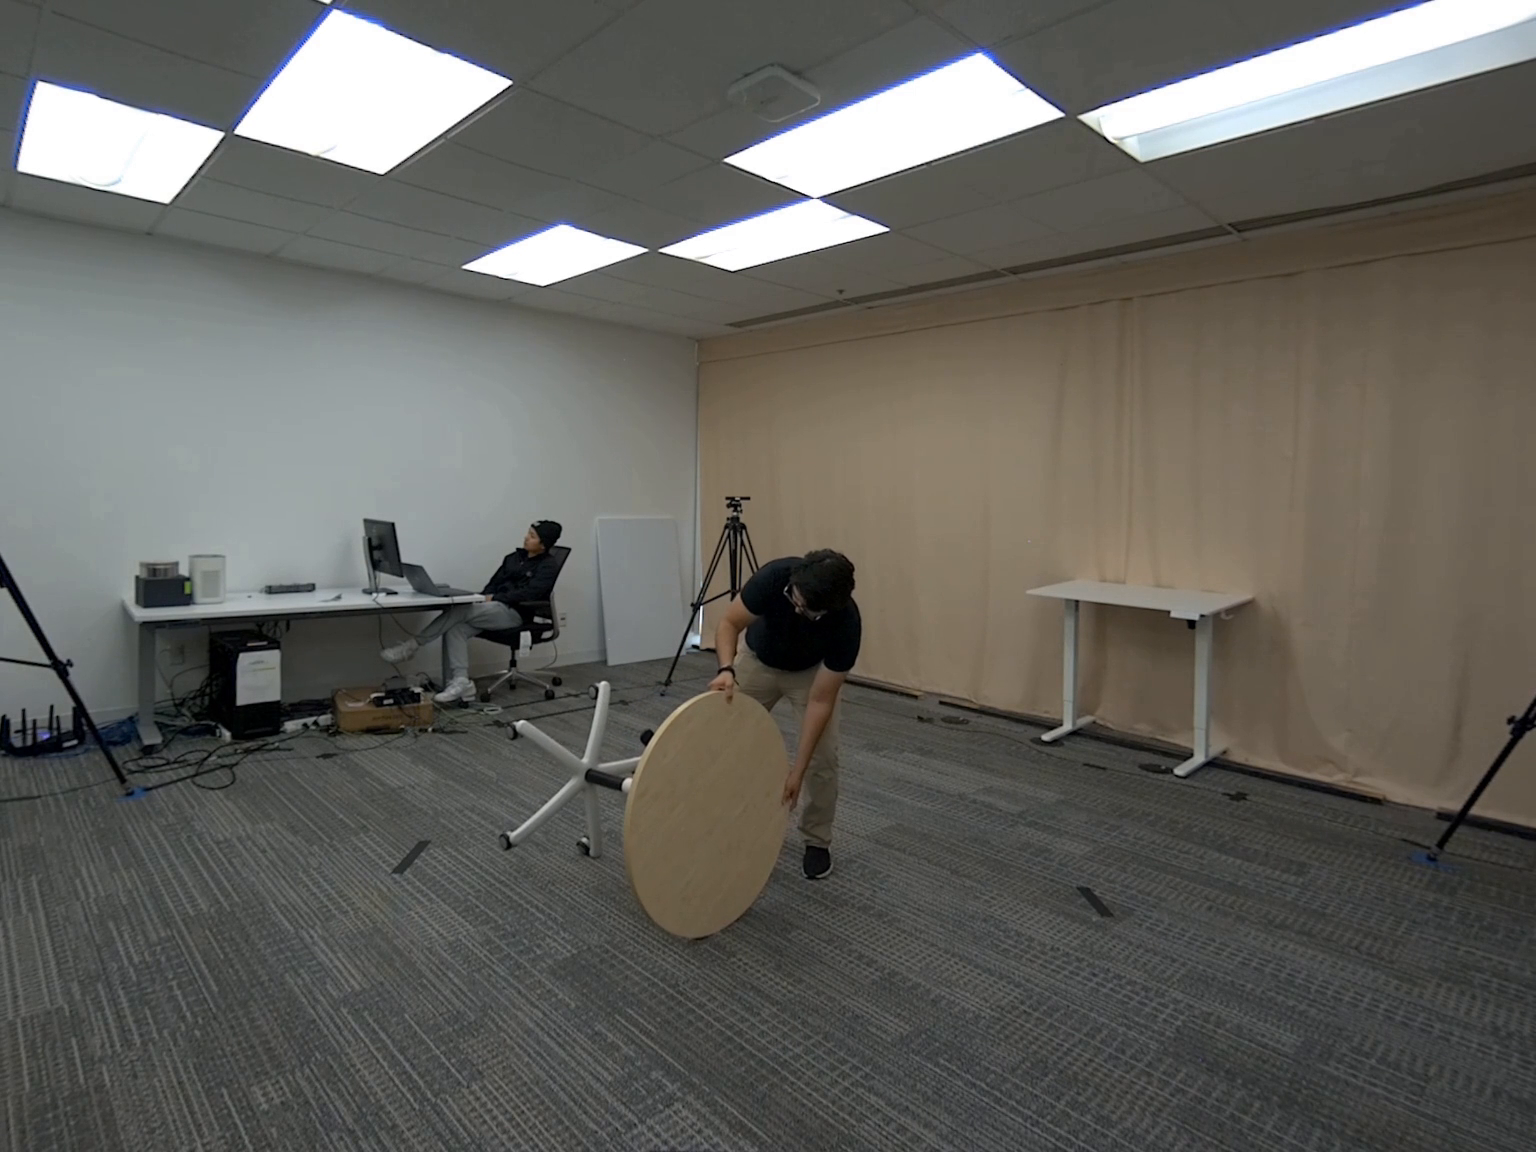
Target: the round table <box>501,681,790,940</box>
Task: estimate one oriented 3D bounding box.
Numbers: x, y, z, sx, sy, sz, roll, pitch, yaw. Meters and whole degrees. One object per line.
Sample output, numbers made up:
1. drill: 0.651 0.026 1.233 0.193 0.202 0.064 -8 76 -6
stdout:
1. round table: -0.478 0.747 2.960 0.805 0.784 0.767 0 3 40
